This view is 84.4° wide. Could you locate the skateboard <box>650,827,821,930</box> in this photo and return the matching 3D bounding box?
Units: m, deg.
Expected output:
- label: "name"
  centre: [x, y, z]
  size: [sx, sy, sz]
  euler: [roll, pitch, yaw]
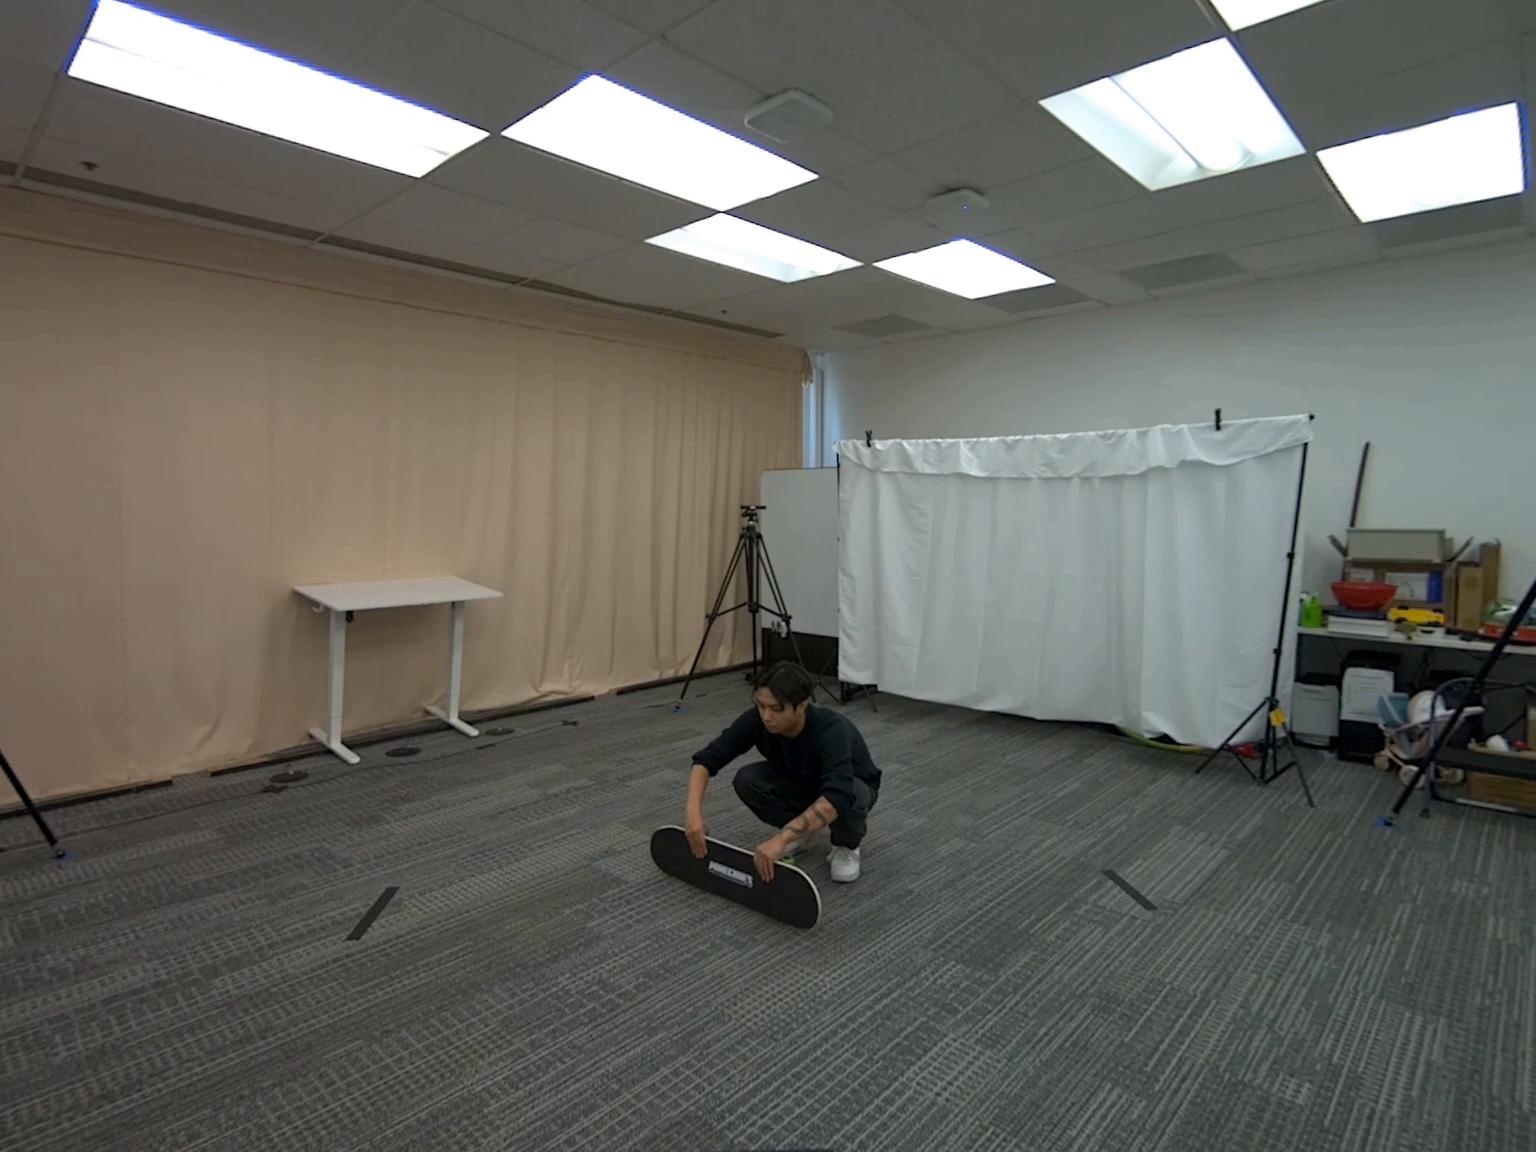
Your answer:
- label: "skateboard"
  centre: [-0.112, 1.031, 2.942]
  size: [0.812, 0.193, 0.107]
  euler: [4, 2, 43]
